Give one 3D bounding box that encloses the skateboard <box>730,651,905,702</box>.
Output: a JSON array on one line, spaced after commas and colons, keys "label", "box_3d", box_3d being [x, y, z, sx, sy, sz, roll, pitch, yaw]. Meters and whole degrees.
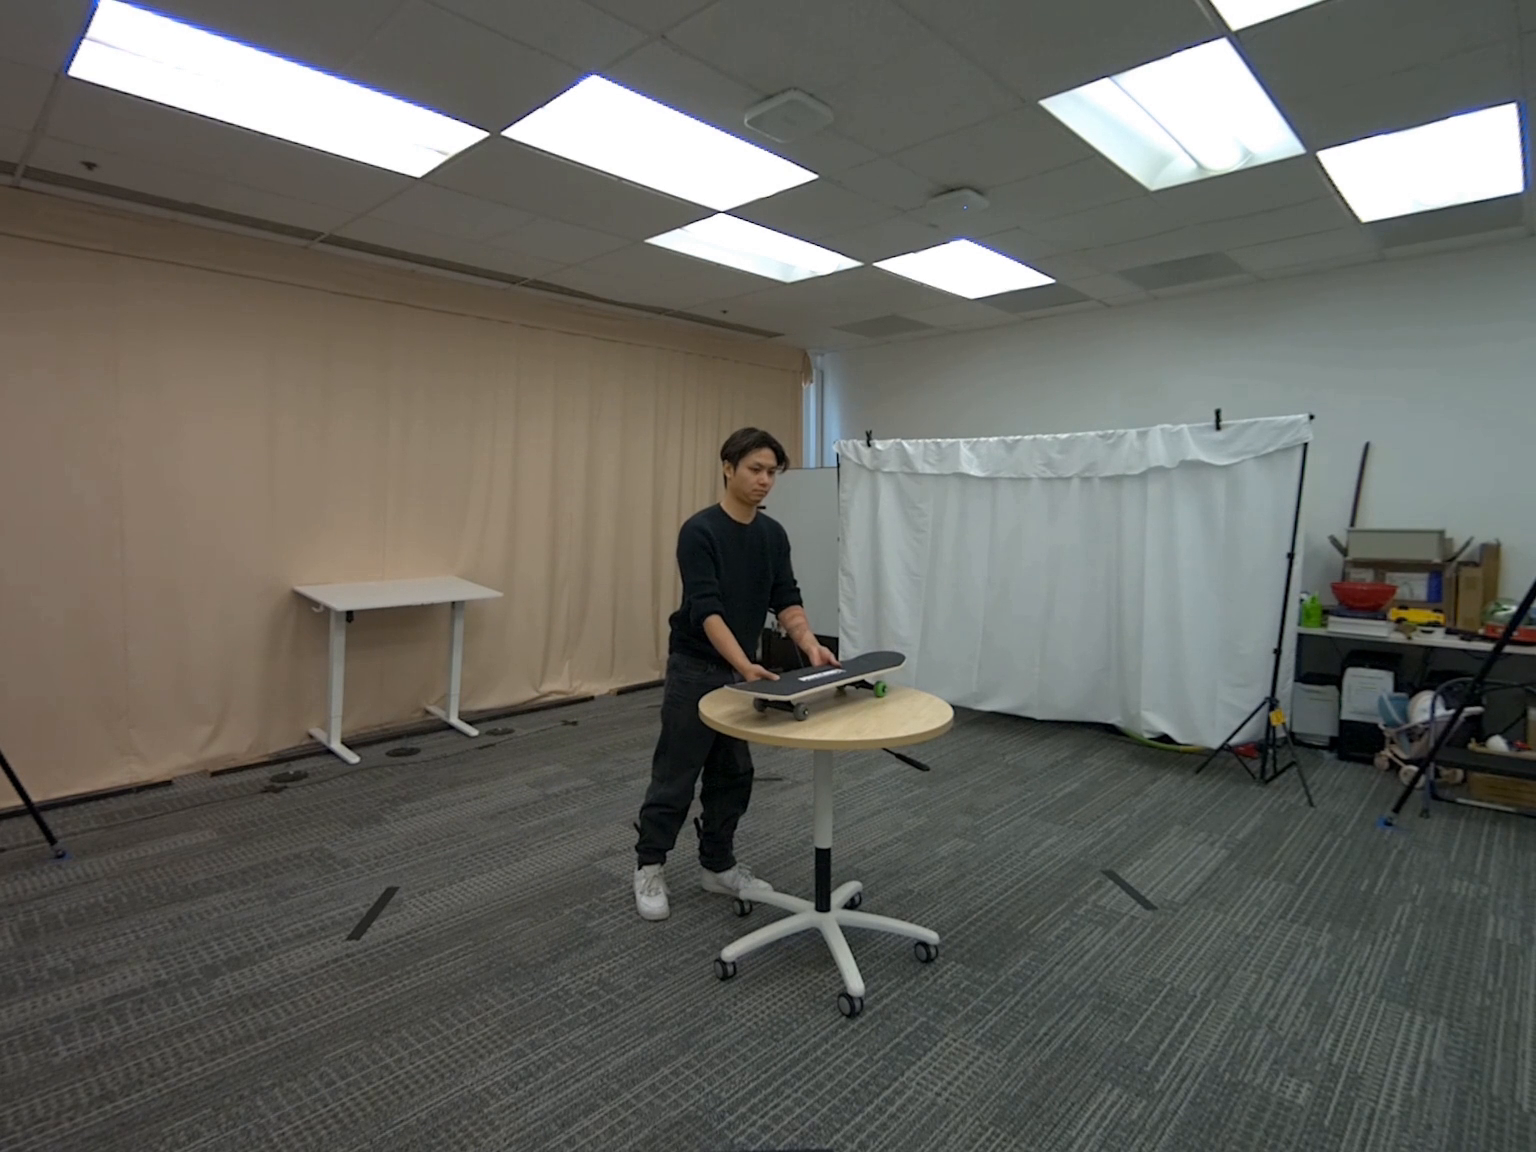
[{"label": "skateboard", "box_3d": [0.165, 0.350, 2.565, 0.200, 0.110, 0.762, 3, 7, 43]}]
